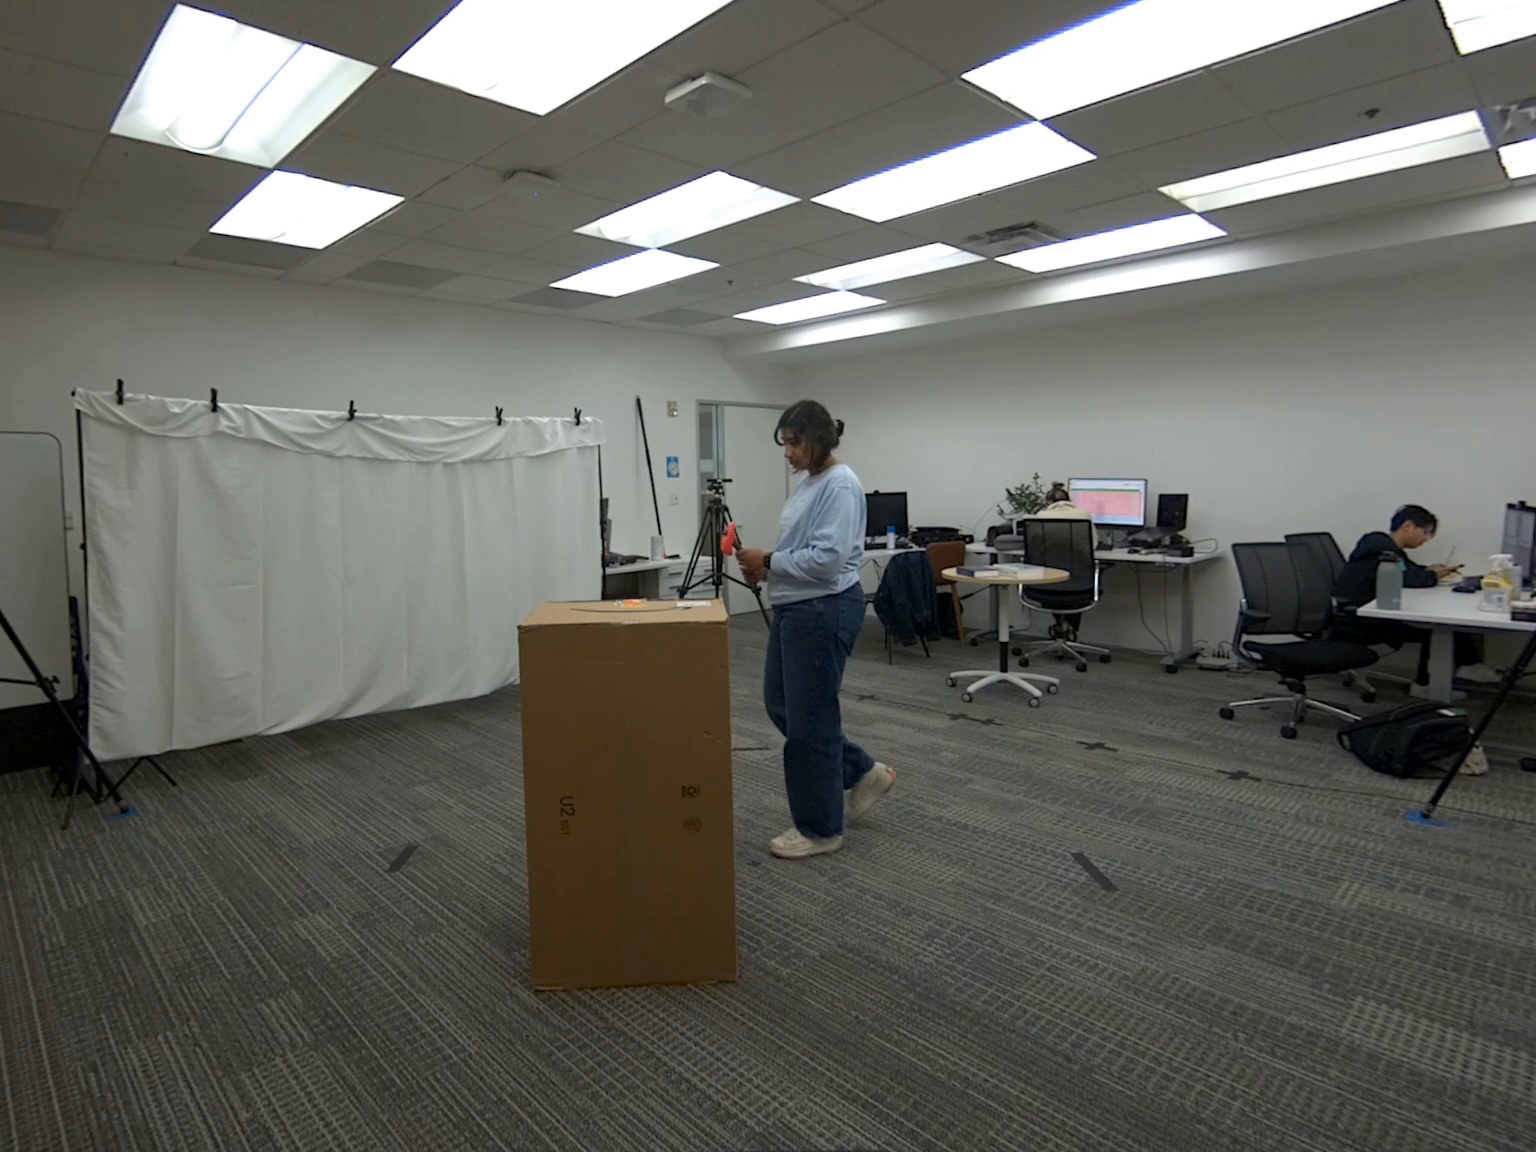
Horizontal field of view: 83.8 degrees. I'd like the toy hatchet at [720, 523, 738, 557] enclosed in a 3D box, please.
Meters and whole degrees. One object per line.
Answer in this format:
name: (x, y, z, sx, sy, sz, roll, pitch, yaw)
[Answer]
toy hatchet: (-0.105, -0.066, 3.152, 0.030, 0.262, 0.132, -8, 33, 35)
